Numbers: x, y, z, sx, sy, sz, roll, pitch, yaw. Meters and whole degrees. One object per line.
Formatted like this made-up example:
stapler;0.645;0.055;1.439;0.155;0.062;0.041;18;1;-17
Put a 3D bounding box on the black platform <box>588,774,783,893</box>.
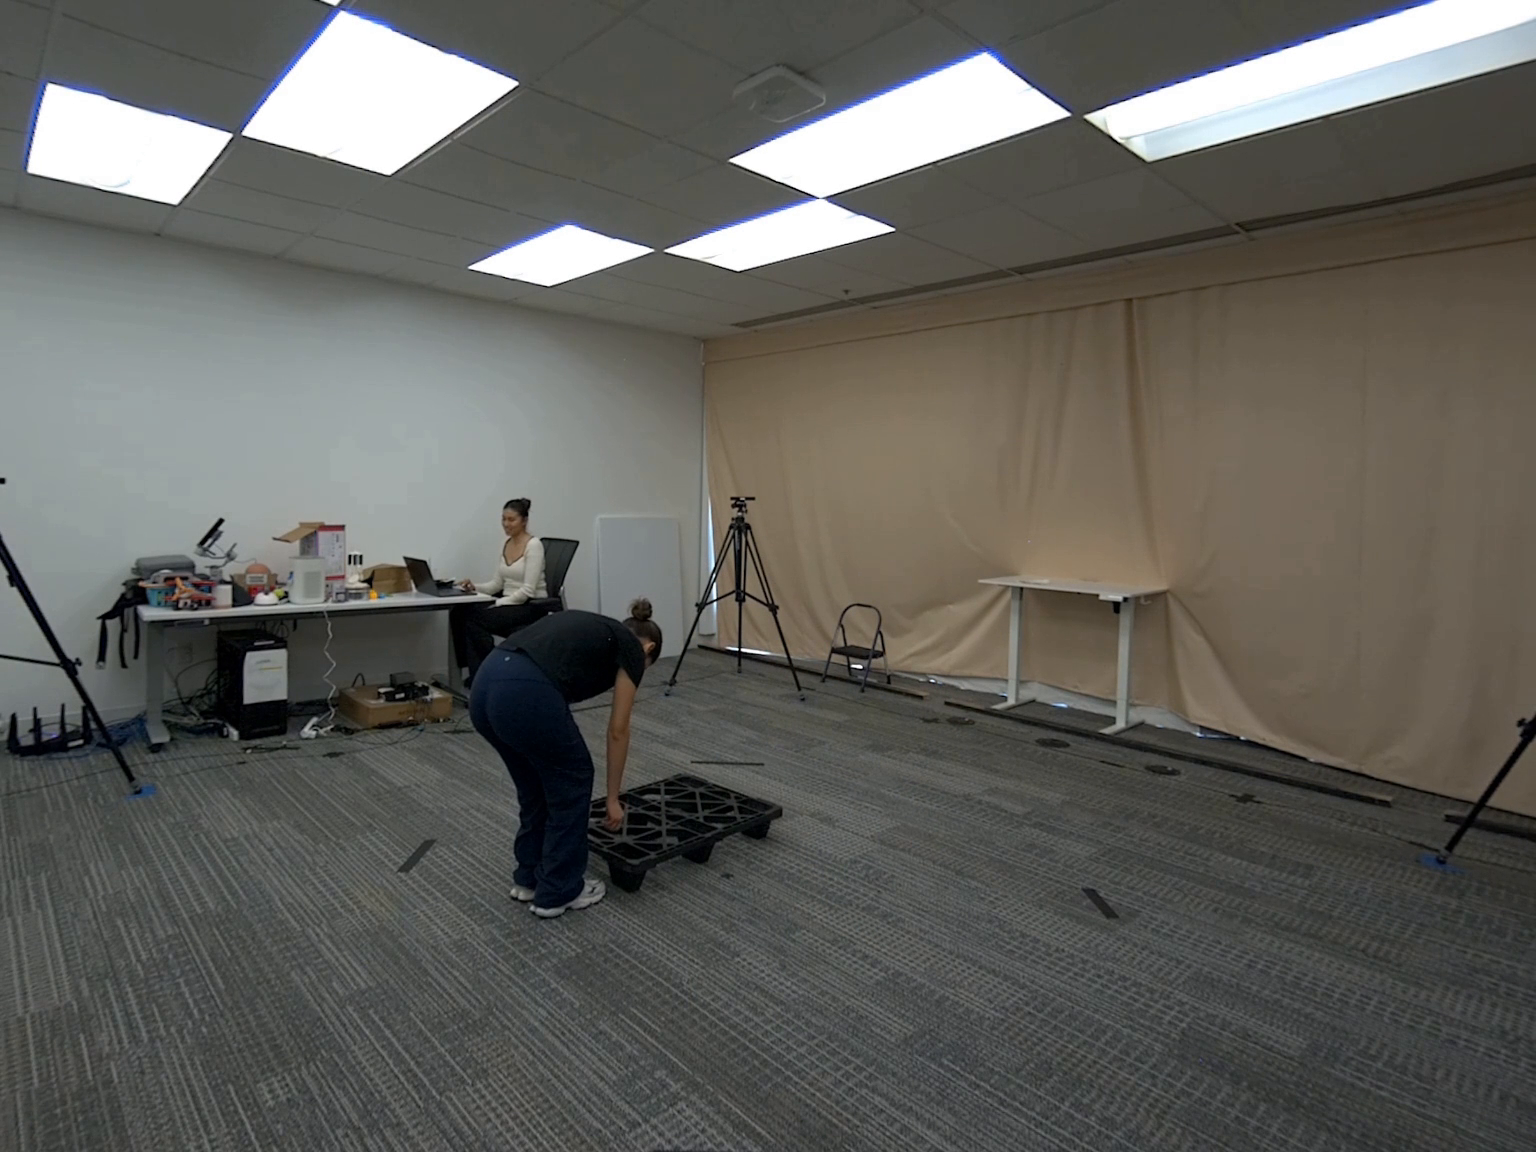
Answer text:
black platform;-0.428;1.014;3.354;0.620;0.143;0.787;5;6;42
